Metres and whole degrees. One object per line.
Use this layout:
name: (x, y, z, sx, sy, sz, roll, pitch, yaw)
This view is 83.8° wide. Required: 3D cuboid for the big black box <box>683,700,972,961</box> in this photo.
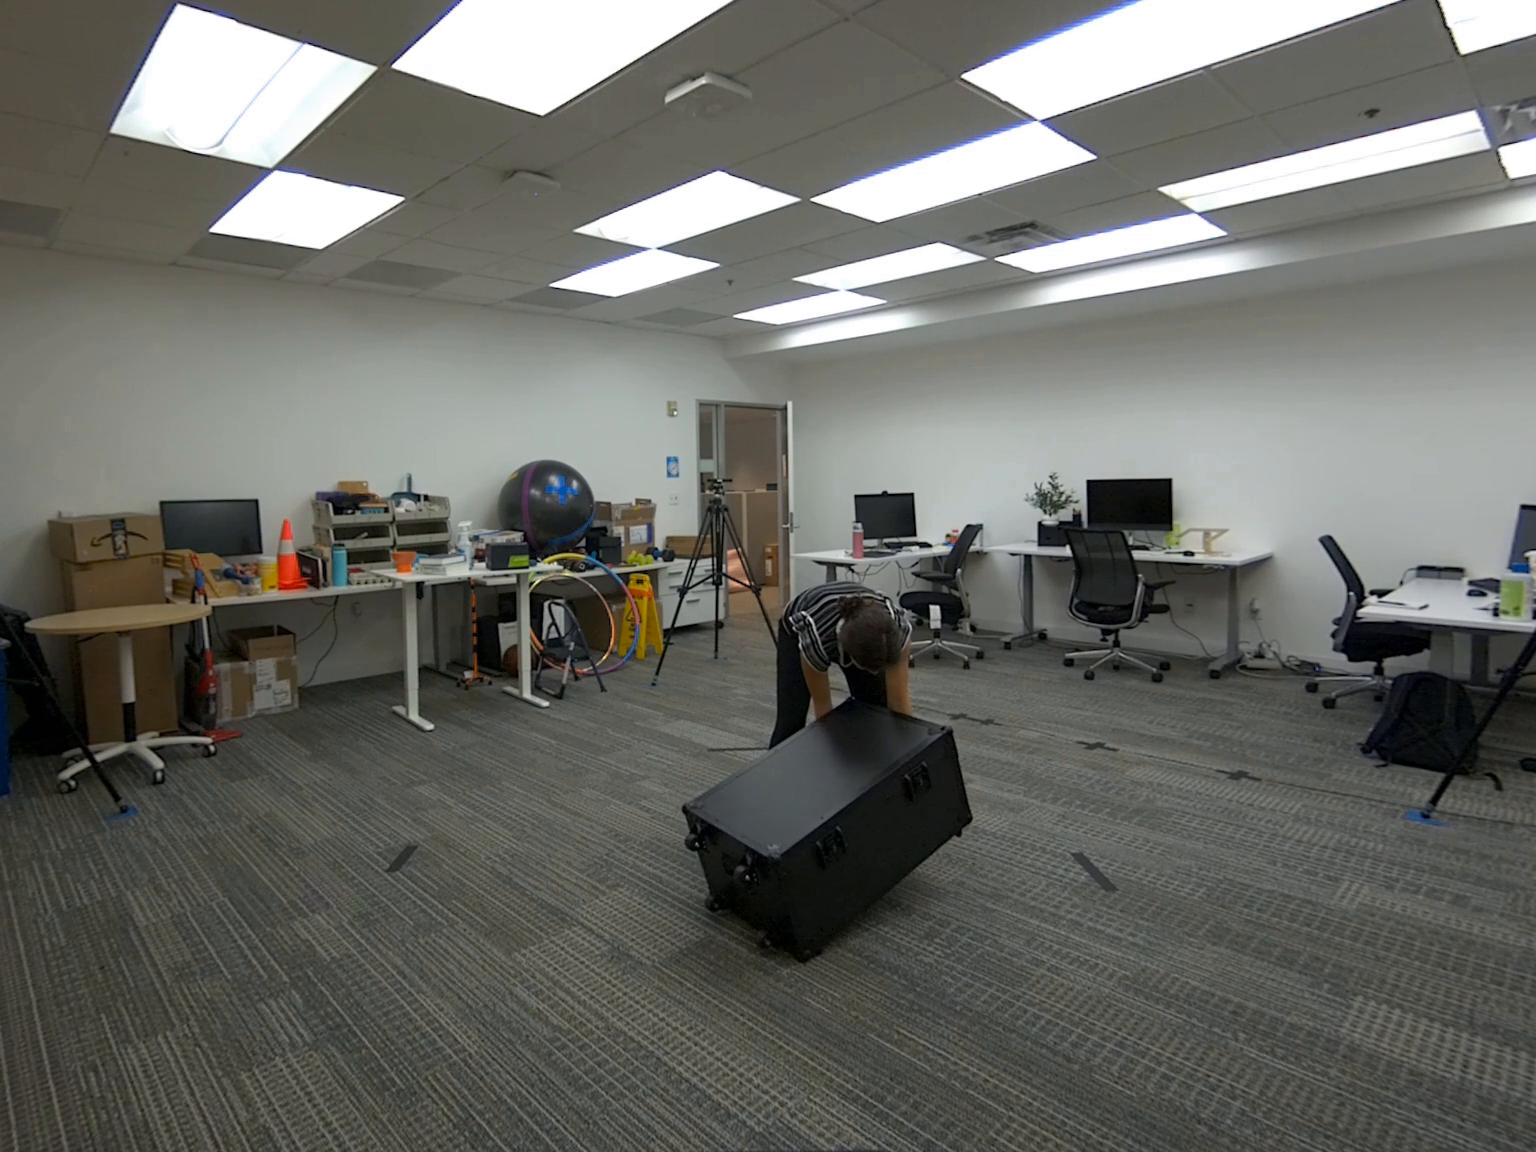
big black box: (0.175, 0.806, 2.796, 0.850, 0.390, 0.537, -26, 19, -32)
